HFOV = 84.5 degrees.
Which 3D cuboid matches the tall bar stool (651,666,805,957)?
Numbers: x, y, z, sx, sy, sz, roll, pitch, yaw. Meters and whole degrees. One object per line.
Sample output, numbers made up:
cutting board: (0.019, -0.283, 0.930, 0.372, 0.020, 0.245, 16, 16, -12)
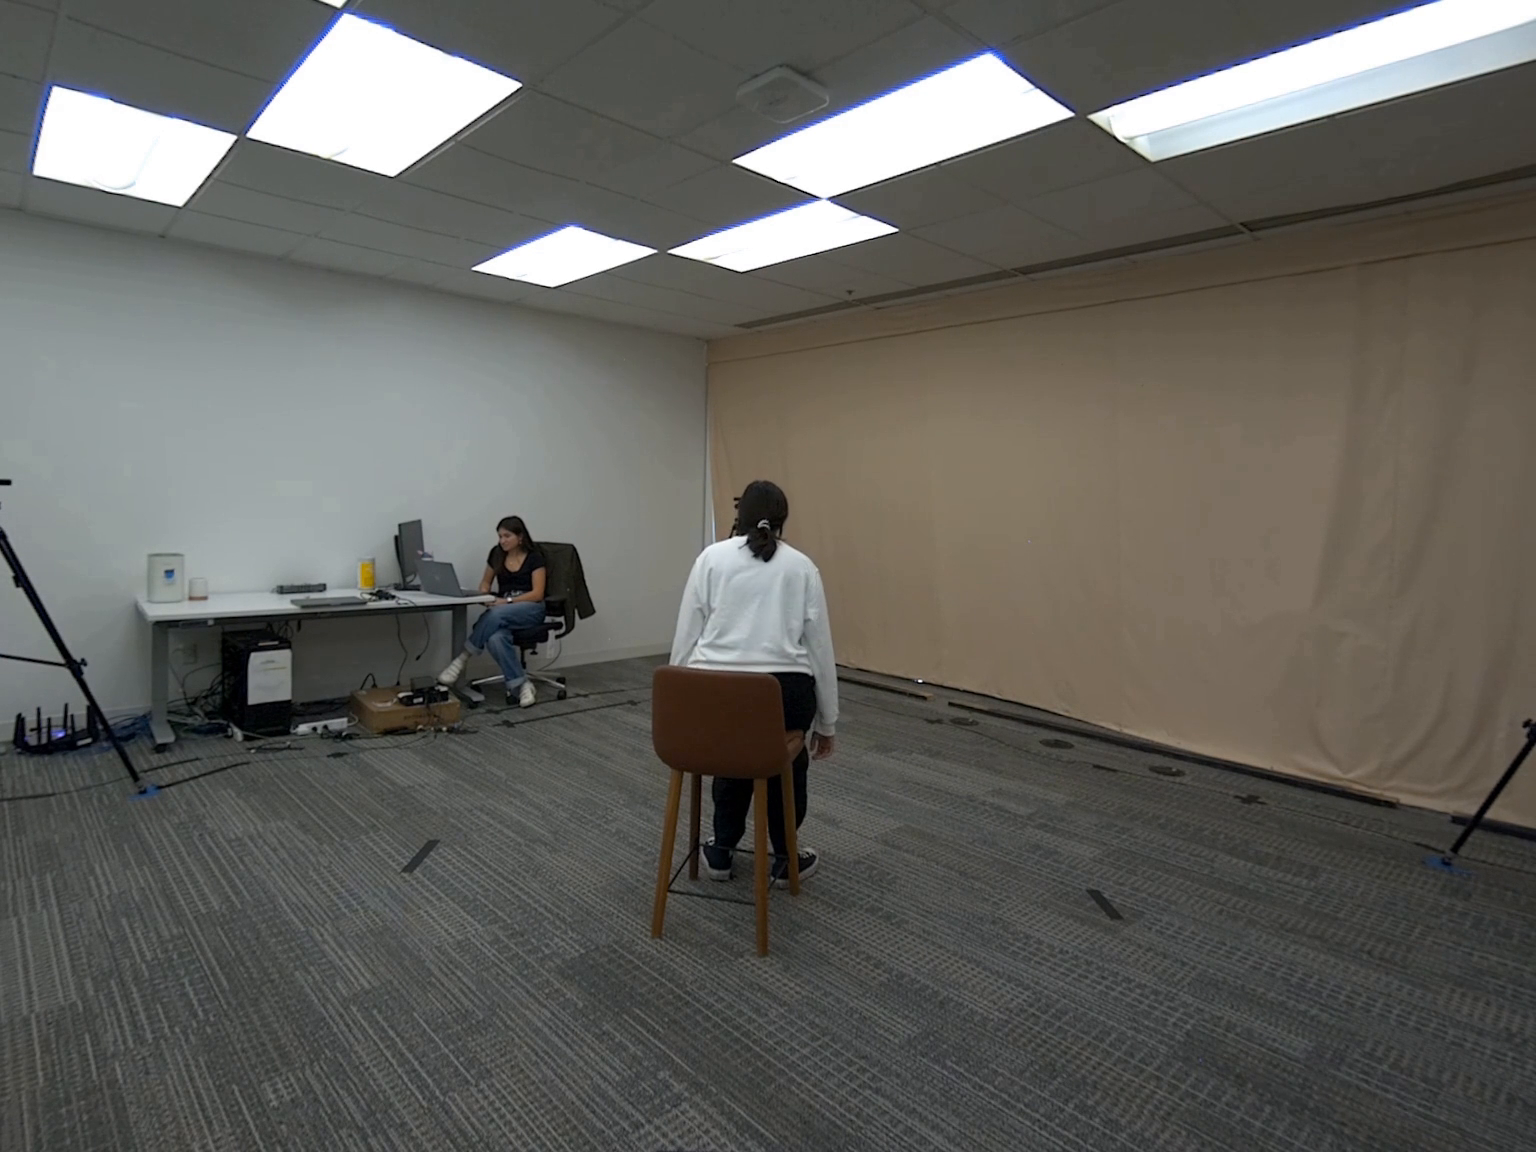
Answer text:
tall bar stool: (-0.141, 0.705, 2.789, 0.462, 0.886, 0.463, 2, 5, 15)
